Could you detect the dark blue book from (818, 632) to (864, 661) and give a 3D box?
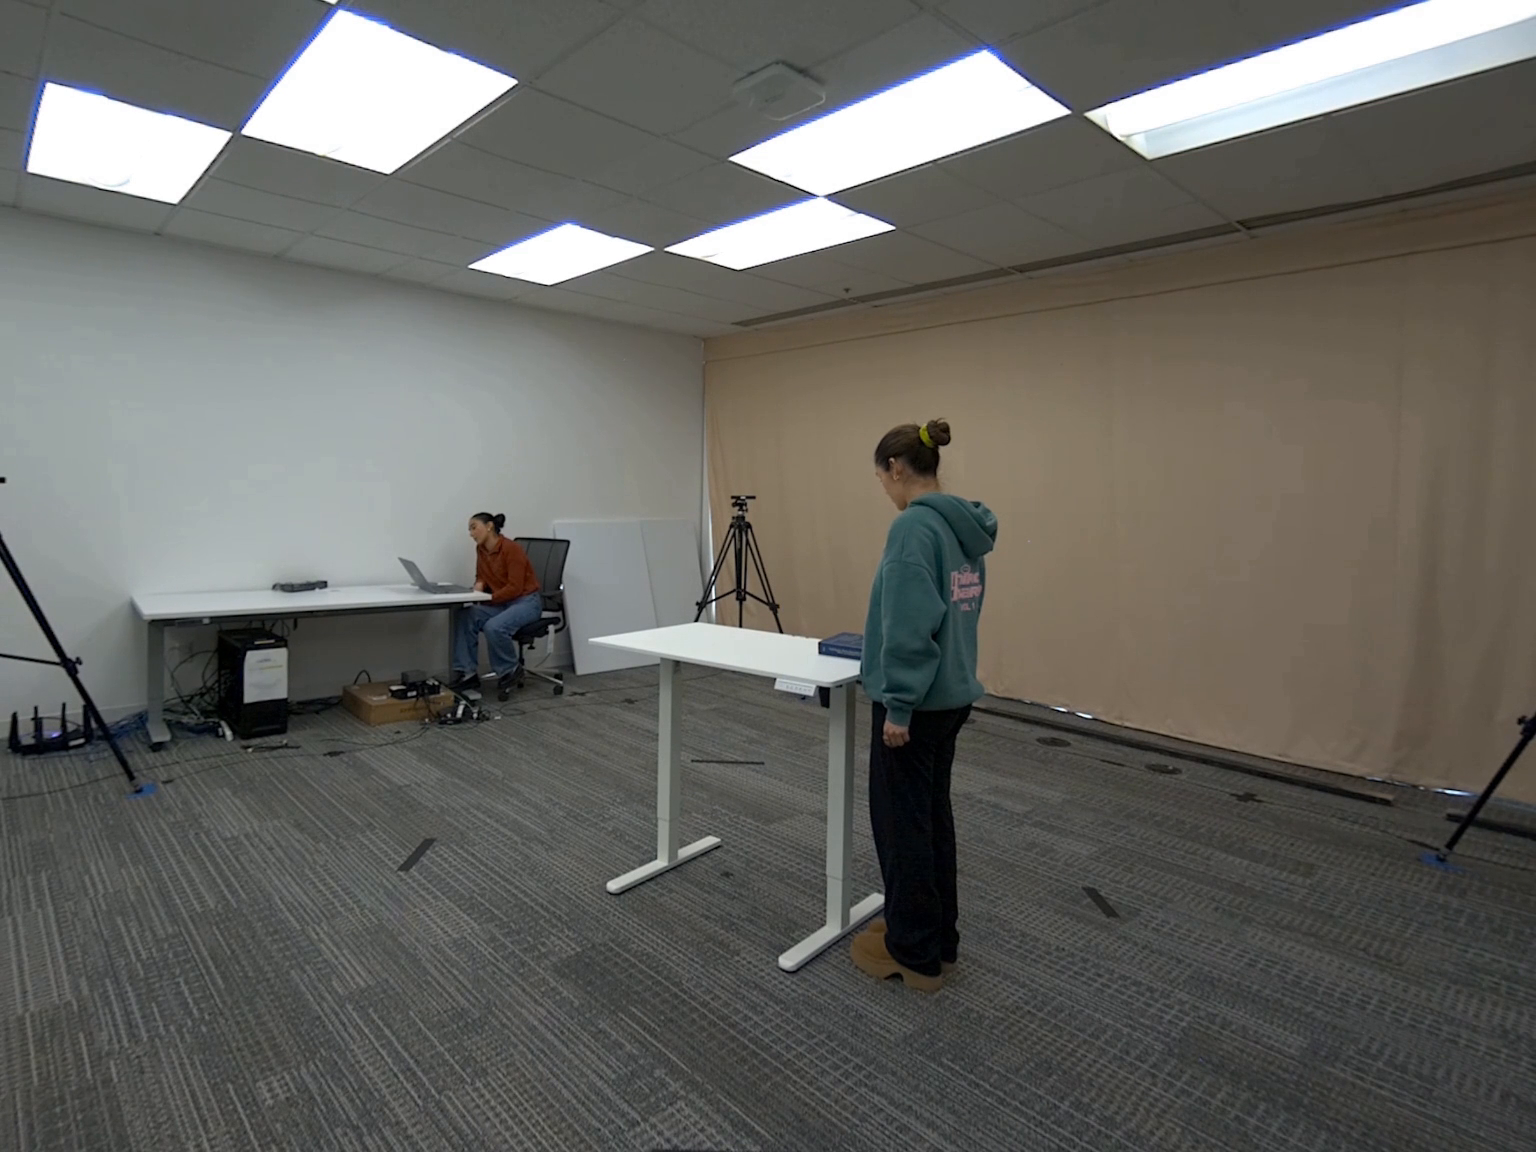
[{"bbox_3d":[0.306,0.239,2.737,0.251,0.045,0.160,6,12,38],"label":"dark blue book"}]
